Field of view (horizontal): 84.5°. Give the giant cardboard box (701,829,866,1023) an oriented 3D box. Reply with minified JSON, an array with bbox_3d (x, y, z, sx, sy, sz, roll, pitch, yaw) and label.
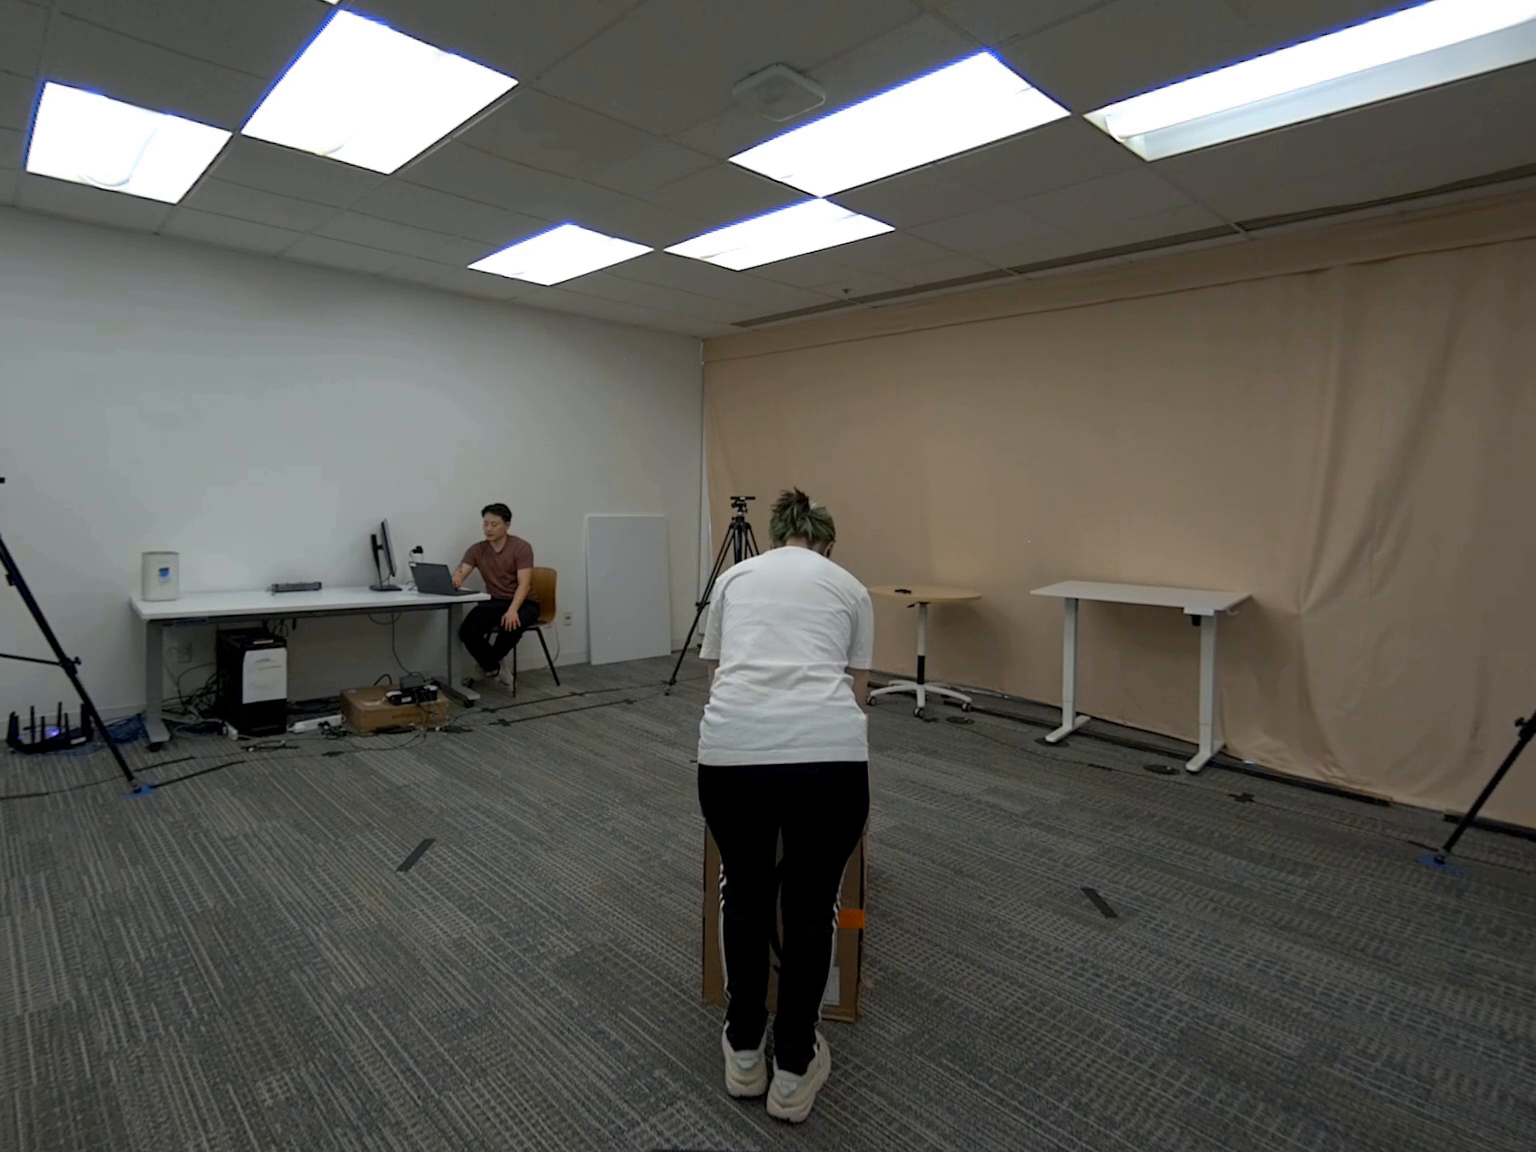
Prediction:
[{"bbox_3d":[0.104,0.857,2.756,0.450,0.582,1.023,3,6,8],"label":"giant cardboard box"}]
